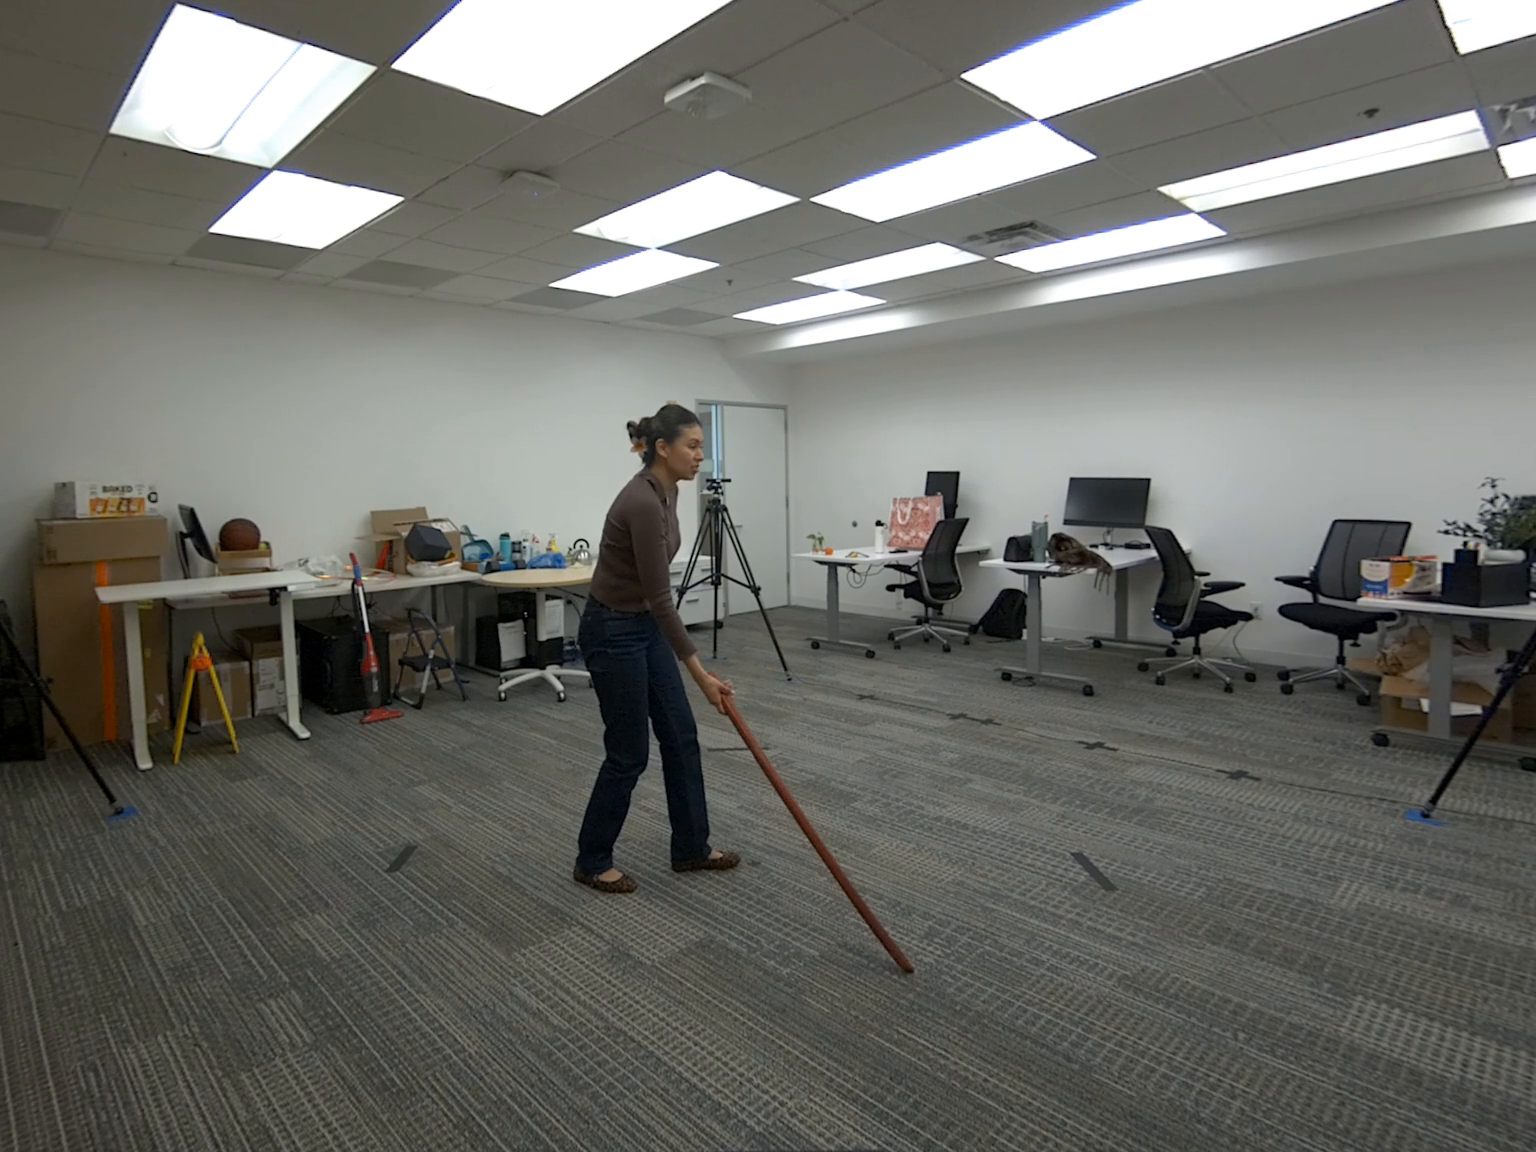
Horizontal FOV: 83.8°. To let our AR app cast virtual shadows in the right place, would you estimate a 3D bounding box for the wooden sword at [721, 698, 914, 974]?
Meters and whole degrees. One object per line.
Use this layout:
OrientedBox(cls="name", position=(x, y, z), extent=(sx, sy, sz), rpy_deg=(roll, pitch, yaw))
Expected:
OrientedBox(cls="wooden sword", position=(0.103, 0.721, 2.576), extent=(0.024, 1.049, 0.050), rpy_deg=(-38, -18, 2))
